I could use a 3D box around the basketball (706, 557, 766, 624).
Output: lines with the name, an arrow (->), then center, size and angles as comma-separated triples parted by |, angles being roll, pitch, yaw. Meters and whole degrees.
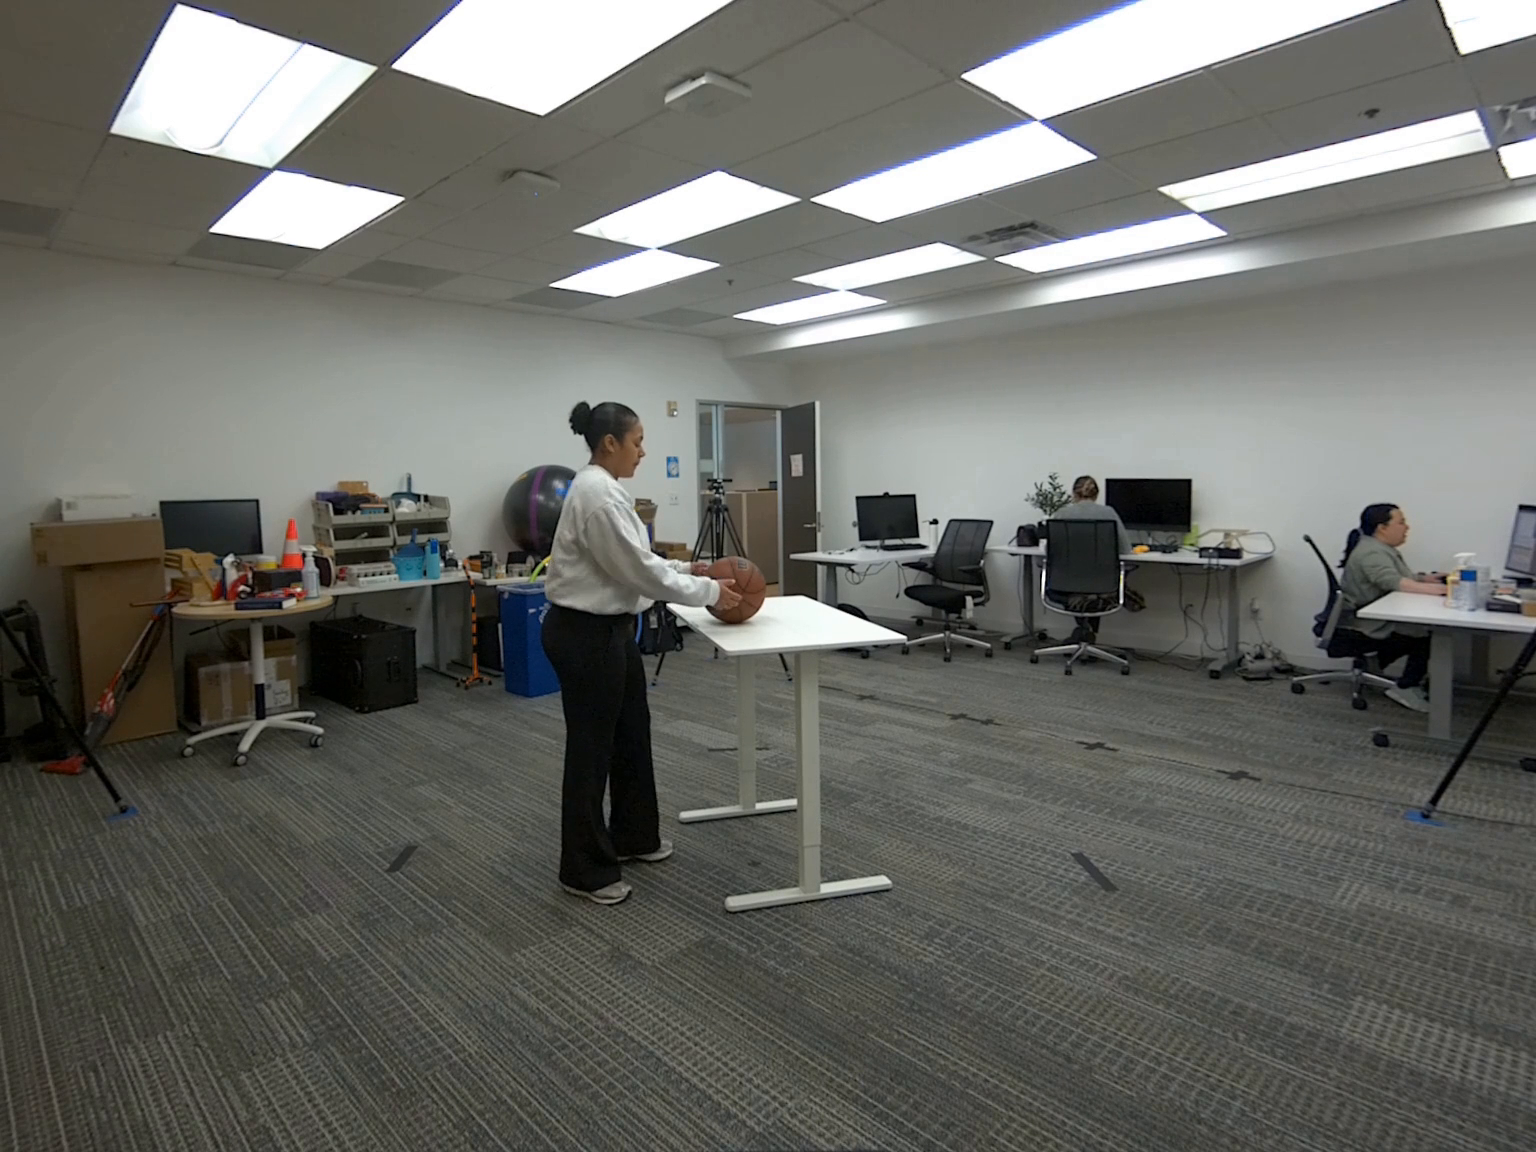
basketball -> -0.128, 0.048, 3.071 | 0.236, 0.235, 0.237 | -1, 5, -2
